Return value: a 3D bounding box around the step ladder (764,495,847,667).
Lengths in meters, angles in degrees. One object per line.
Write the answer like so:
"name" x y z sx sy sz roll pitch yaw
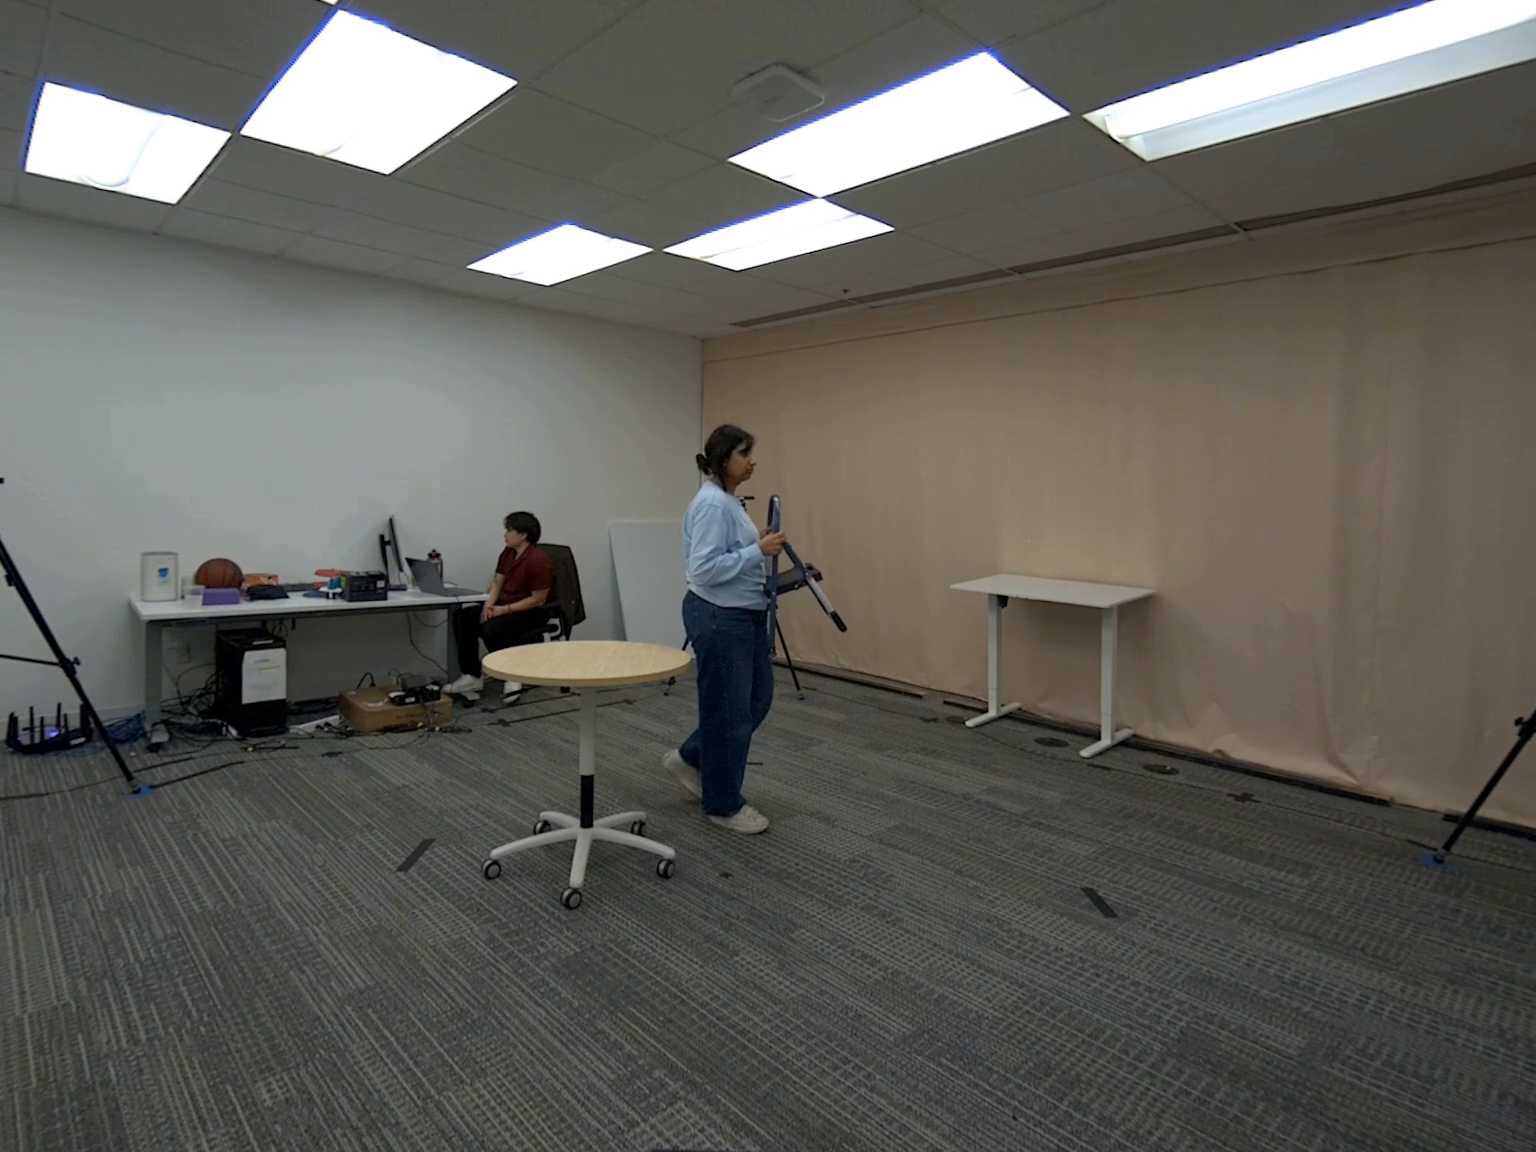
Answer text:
"step ladder" 0.050 -0.036 3.590 0.349 0.602 0.434 -18 7 -2
